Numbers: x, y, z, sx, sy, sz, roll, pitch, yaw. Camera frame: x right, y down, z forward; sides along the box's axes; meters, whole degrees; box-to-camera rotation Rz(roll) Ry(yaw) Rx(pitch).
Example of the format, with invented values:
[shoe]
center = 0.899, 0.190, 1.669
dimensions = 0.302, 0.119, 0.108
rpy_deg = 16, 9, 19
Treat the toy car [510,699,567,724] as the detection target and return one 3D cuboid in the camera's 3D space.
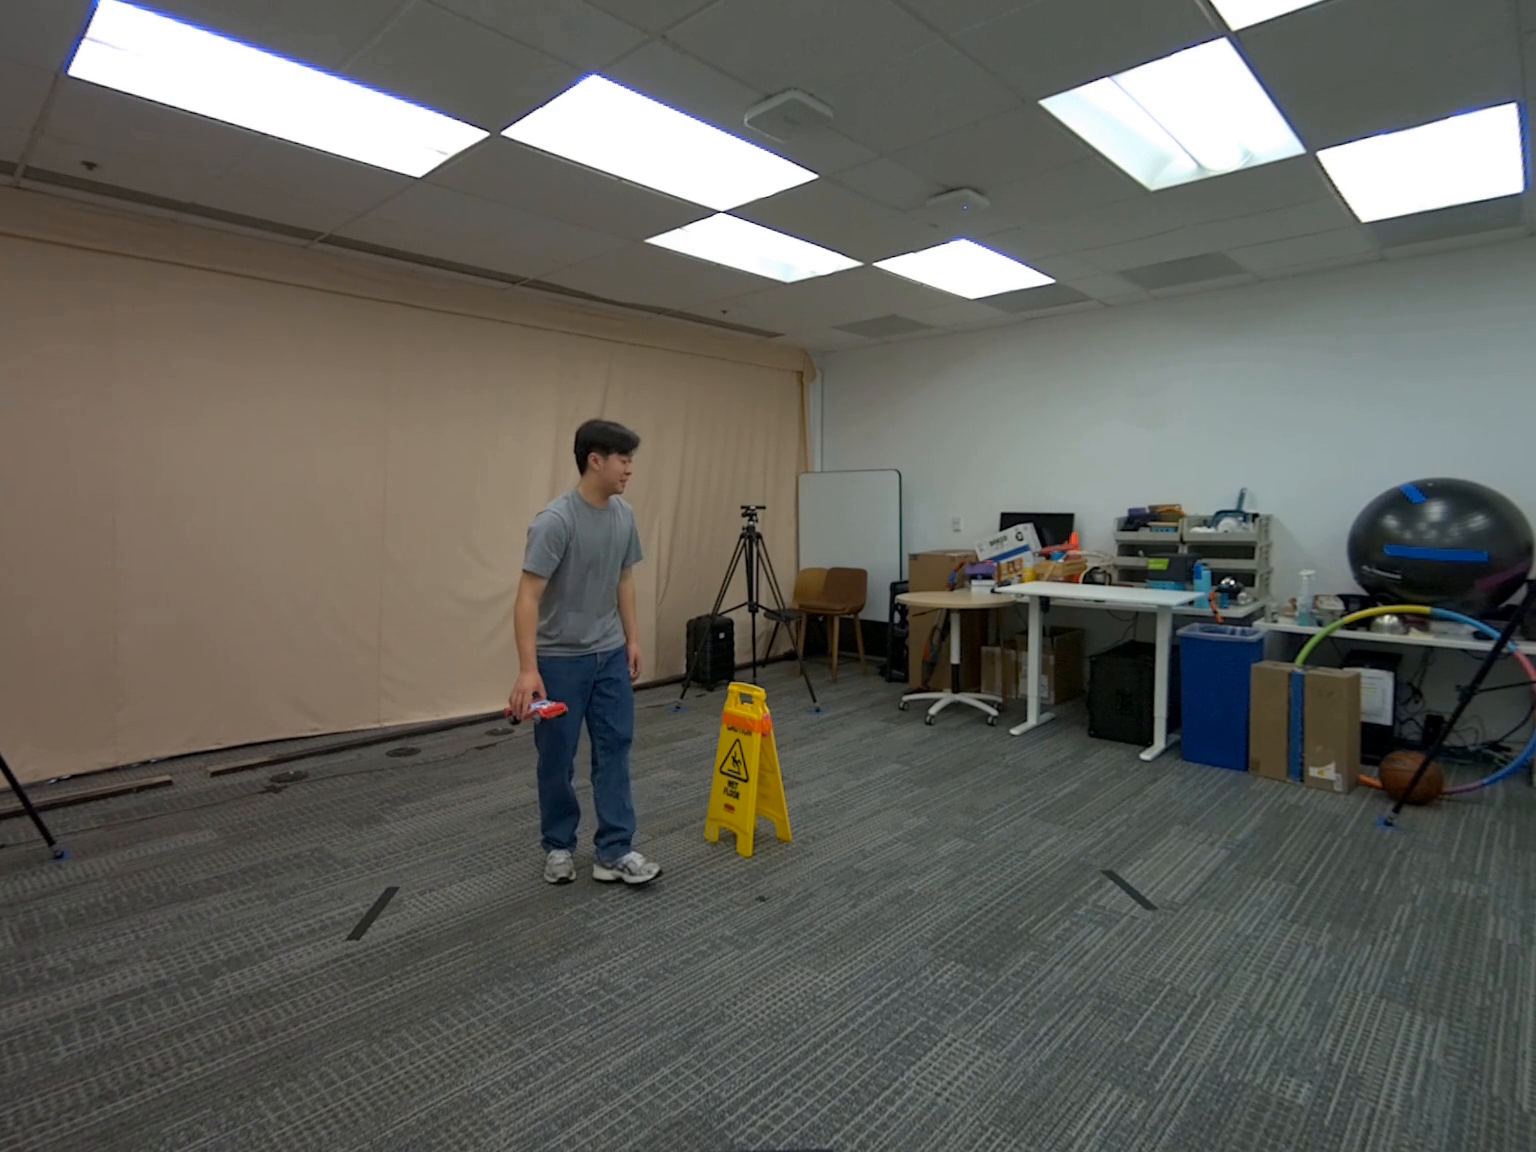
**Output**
[toy car]
center = -0.797, 0.463, 2.863
dimensions = 0.263, 0.083, 0.126
rpy_deg = 2, 8, 41
